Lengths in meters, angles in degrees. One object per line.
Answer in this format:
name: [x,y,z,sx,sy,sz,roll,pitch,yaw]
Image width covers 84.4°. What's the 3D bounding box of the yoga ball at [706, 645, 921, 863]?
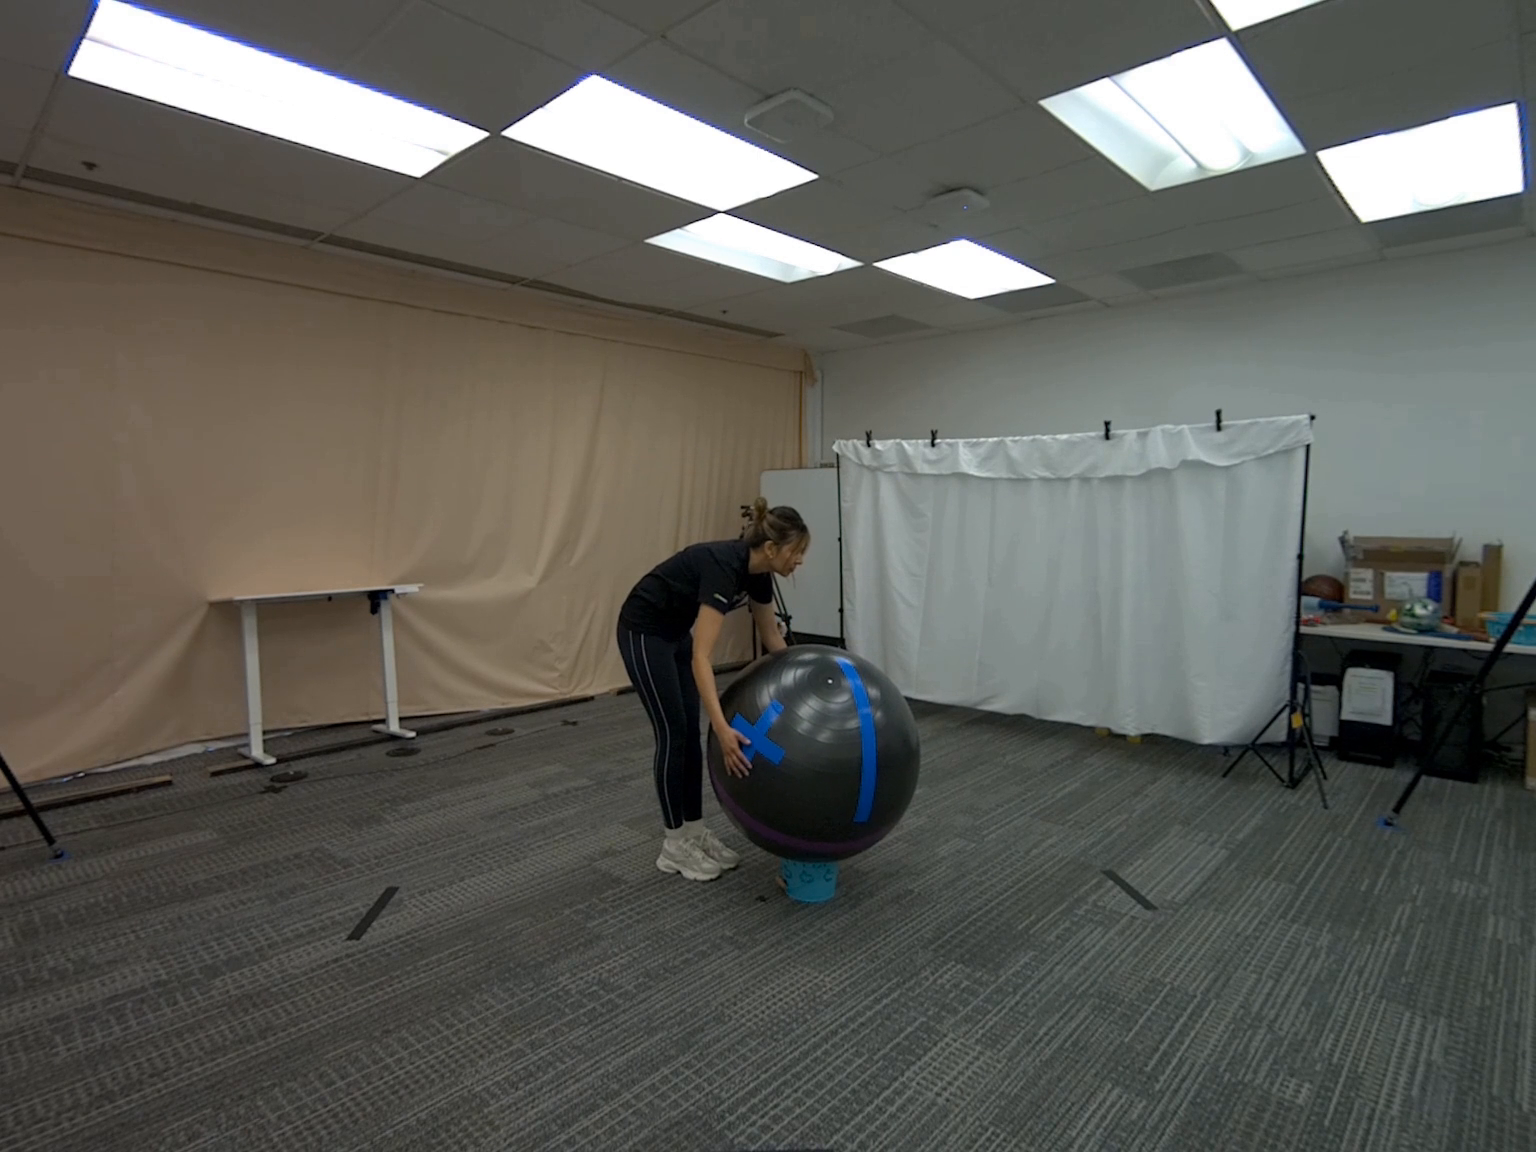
yoga ball: [0.165,0.632,3.023,0.757,0.756,0.760,0,4,-2]
